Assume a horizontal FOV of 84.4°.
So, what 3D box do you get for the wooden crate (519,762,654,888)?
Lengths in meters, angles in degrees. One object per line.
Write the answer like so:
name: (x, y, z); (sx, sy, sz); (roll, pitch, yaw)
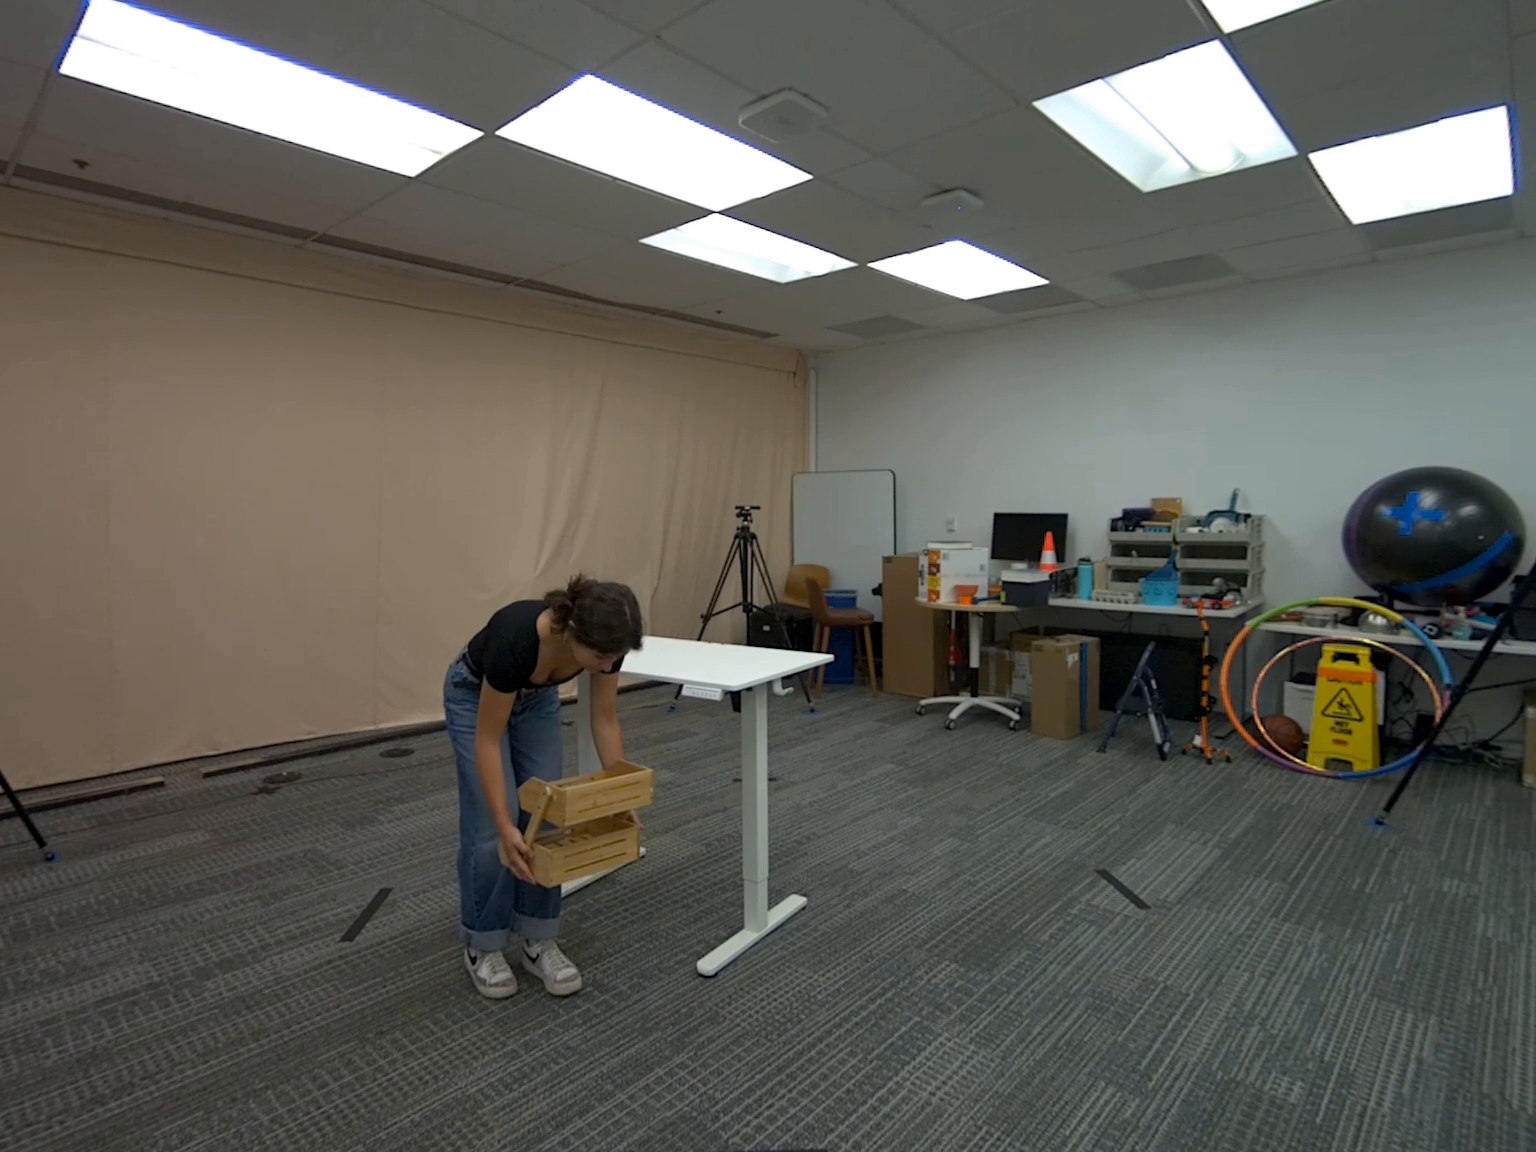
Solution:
wooden crate: (-0.531, 0.655, 2.296); (0.312, 0.273, 0.314); (2, 2, 42)
